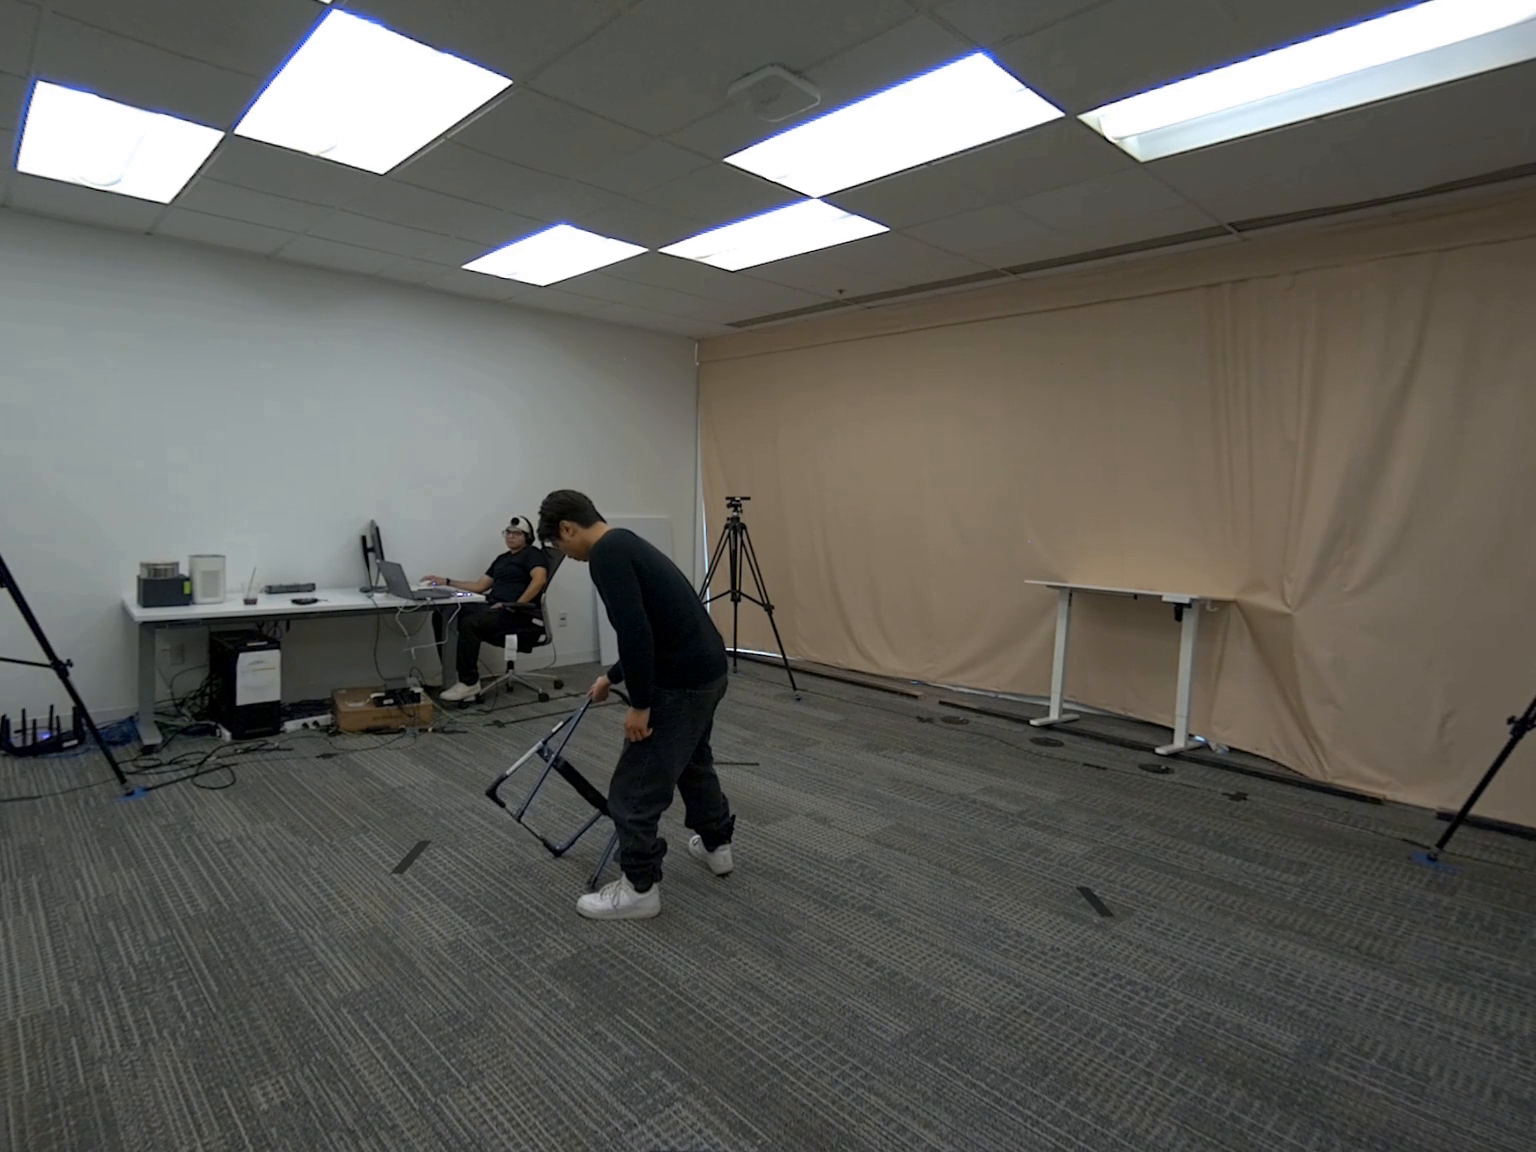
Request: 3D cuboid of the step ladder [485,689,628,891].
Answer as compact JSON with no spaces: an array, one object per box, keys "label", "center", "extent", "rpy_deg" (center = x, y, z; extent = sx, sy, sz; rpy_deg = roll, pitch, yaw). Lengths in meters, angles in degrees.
[{"label":"step ladder","center":[-0.658,0.732,3.137],"extent":[0.606,0.420,0.357],"rpy_deg":[-50,28,-23]}]
